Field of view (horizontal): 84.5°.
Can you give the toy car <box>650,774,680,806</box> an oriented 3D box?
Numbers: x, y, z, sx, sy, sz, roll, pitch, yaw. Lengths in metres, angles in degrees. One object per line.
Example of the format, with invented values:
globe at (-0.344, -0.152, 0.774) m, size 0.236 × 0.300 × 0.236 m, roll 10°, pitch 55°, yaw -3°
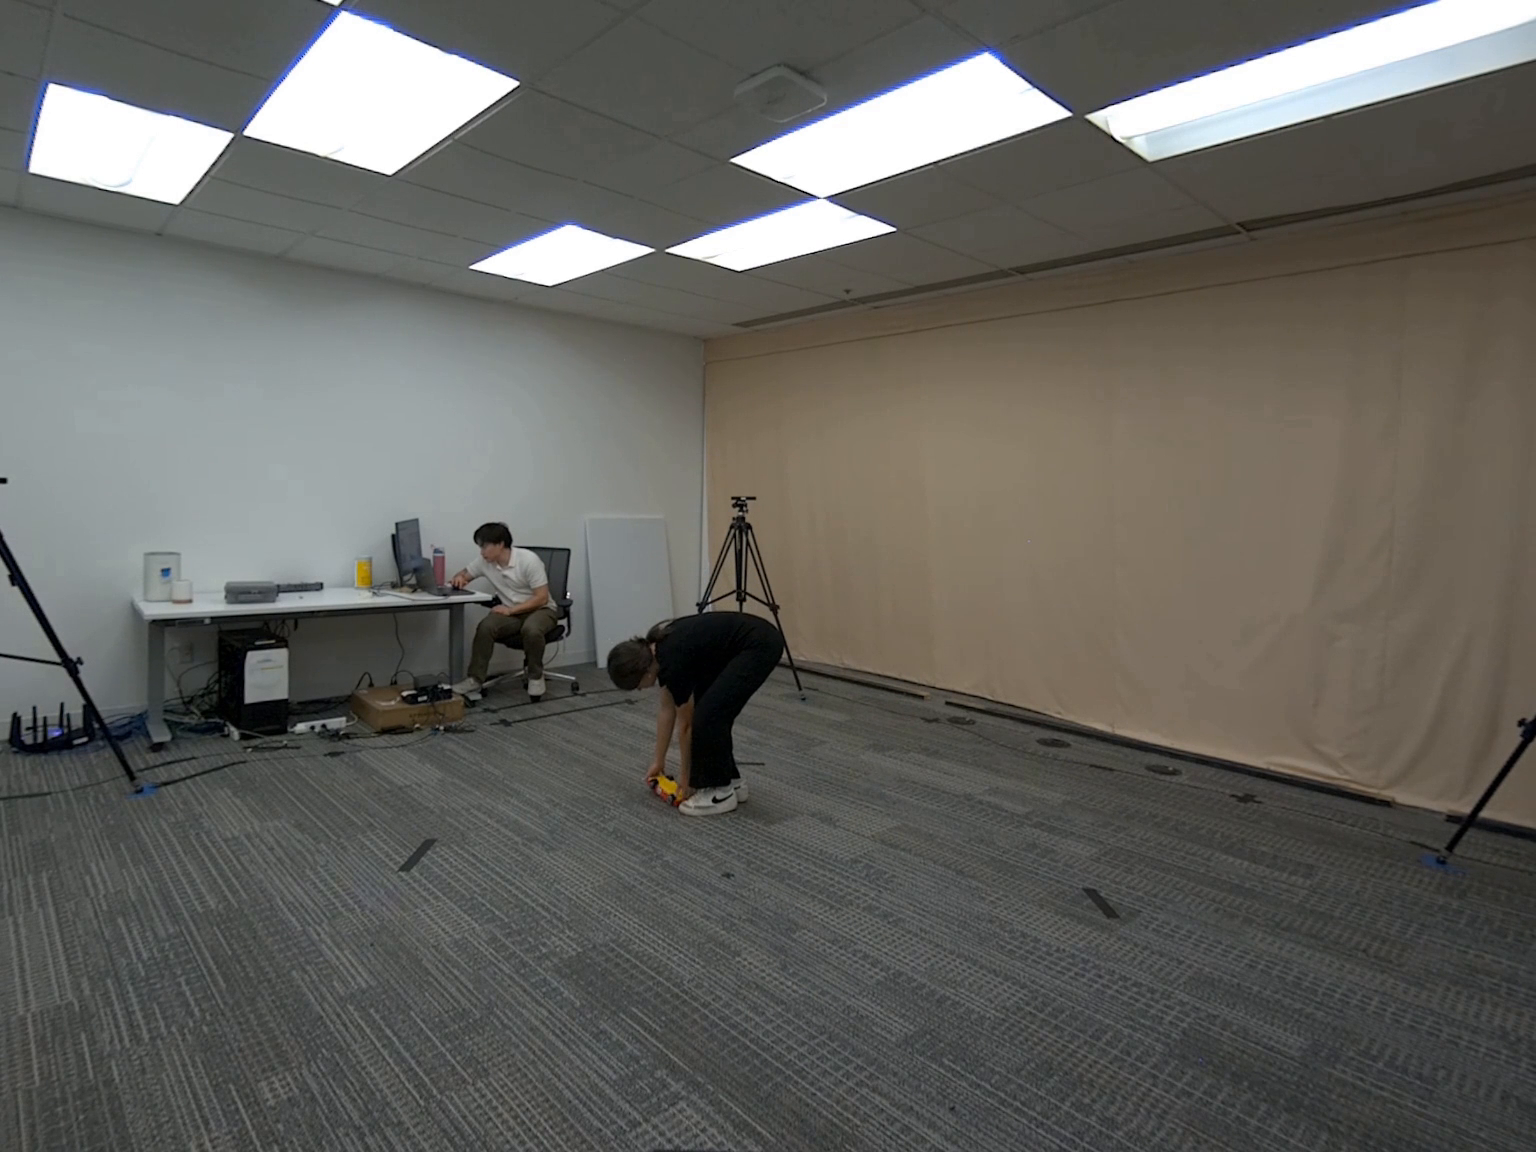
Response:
toy car at (-0.475, 0.983, 3.902) m, size 0.127 × 0.083 × 0.261 m, roll -2°, pitch 7°, yaw -40°
